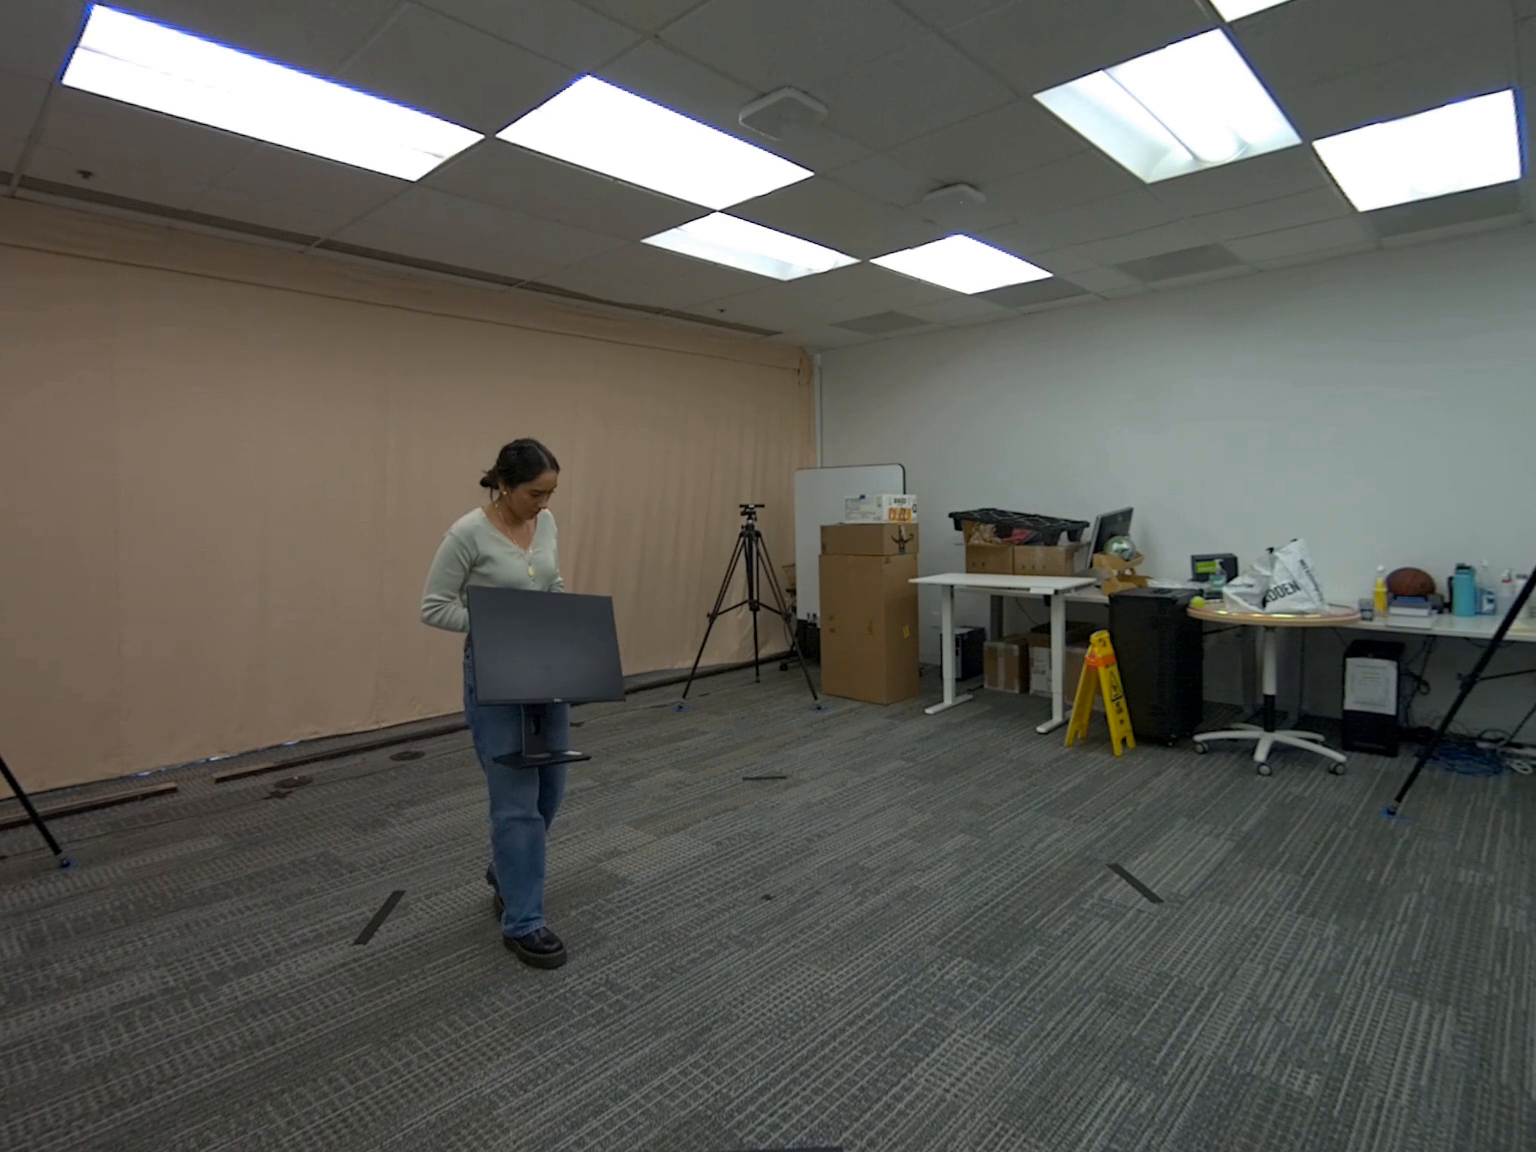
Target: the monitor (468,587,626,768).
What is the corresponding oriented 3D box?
[{"bbox_3d":[-0.681,0.302,2.576,0.180,0.517,0.512,0,-6,40],"label":"monitor"}]
